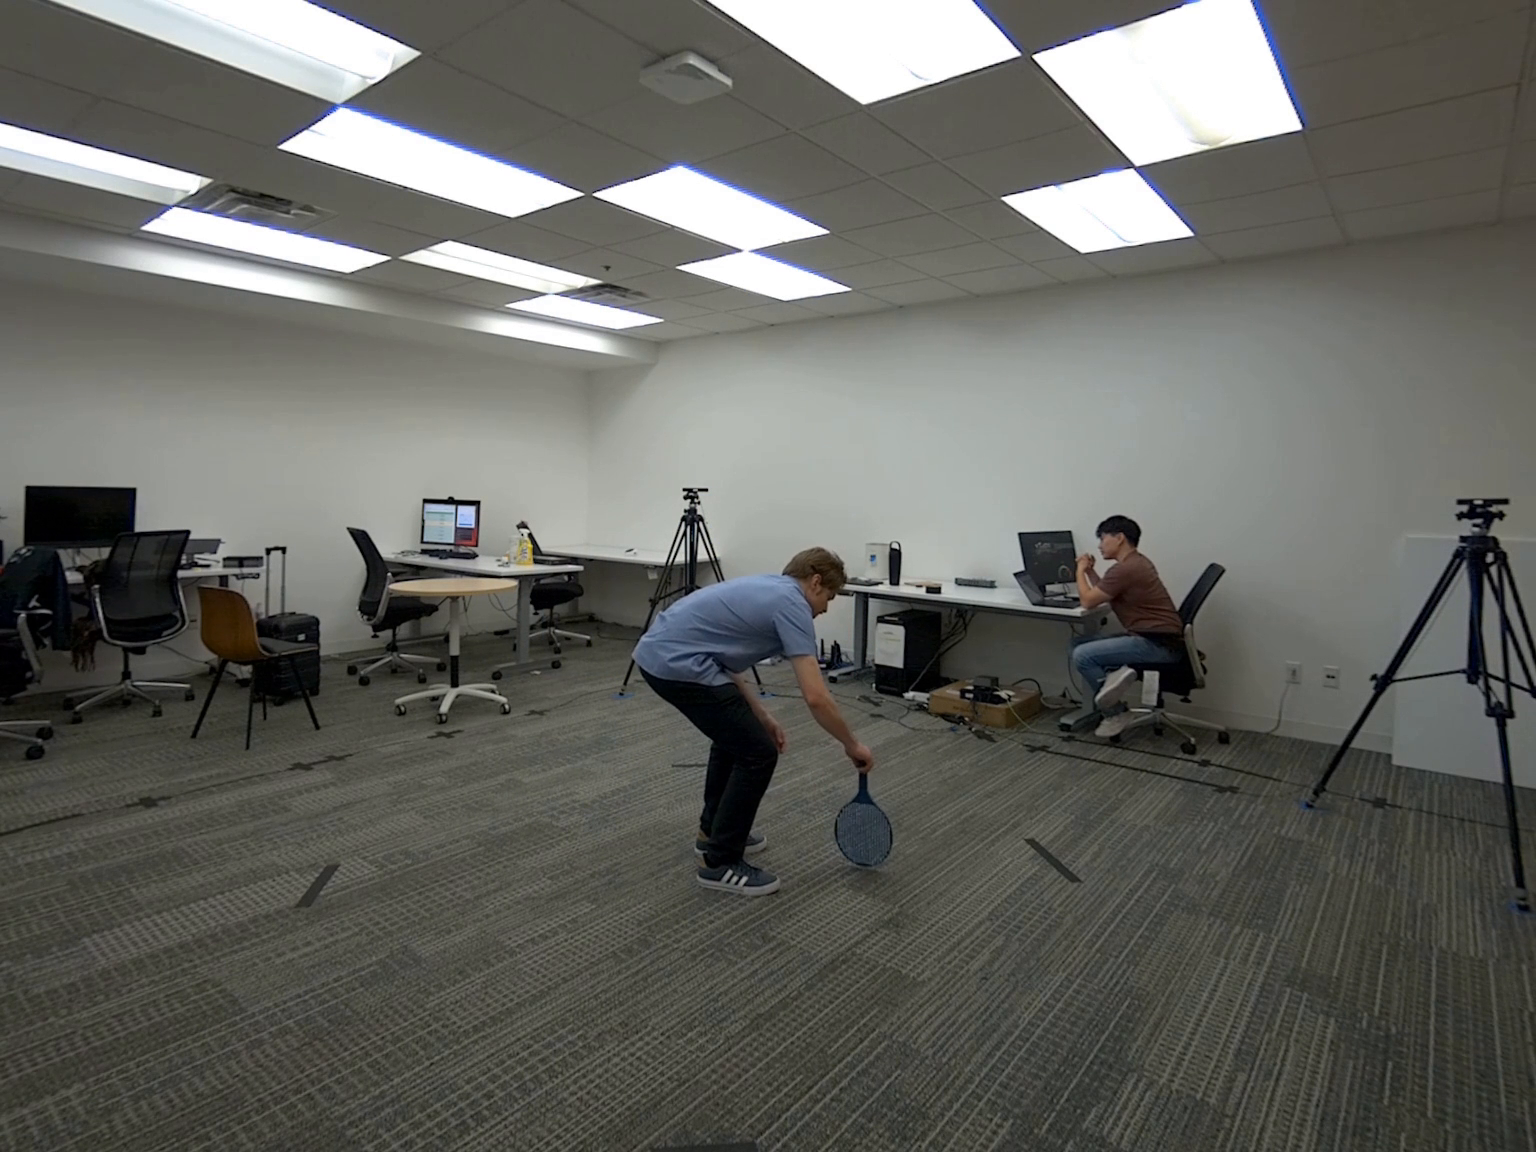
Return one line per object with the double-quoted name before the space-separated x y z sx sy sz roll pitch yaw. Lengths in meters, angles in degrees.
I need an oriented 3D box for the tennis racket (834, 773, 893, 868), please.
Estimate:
"tennis racket" 0.325 0.857 3.107 0.218 0.427 0.031 -1 14 19
